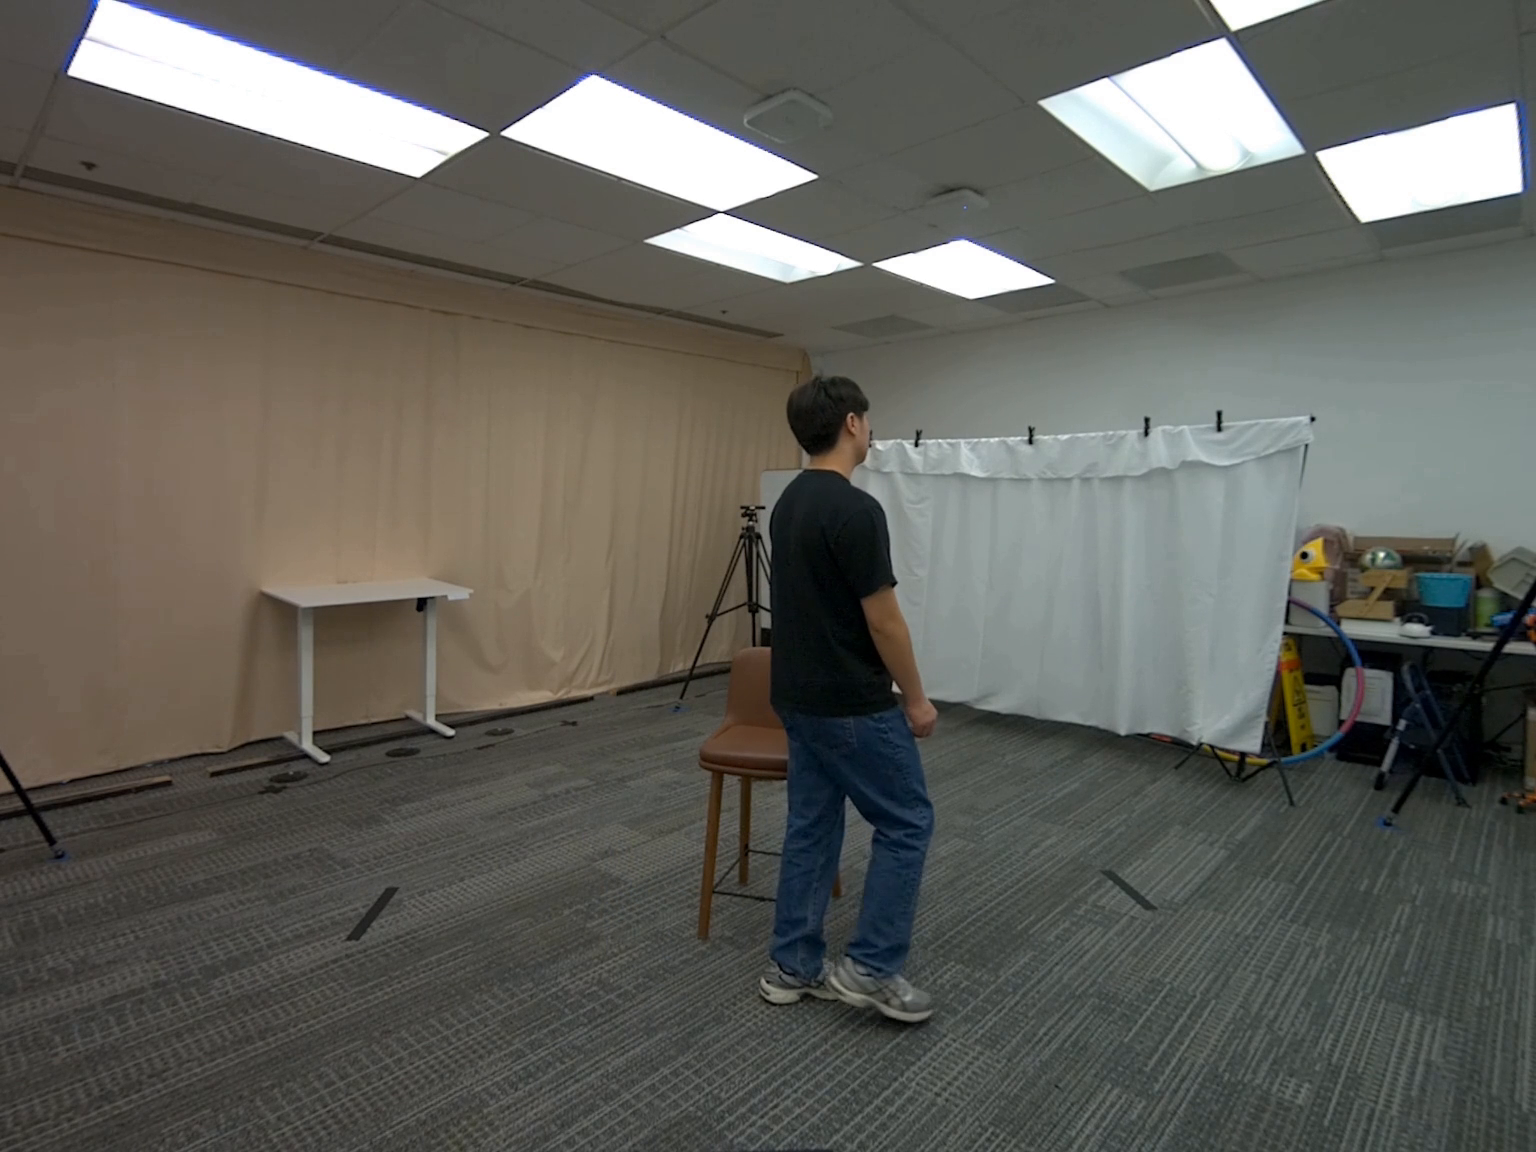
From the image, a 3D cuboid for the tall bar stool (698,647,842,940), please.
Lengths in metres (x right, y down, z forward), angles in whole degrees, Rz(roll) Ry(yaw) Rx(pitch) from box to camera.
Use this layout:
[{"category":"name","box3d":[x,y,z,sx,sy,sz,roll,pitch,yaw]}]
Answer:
[{"category":"tall bar stool","box3d":[0.030,0.720,2.843,0.465,0.889,0.459,1,2,17]}]
